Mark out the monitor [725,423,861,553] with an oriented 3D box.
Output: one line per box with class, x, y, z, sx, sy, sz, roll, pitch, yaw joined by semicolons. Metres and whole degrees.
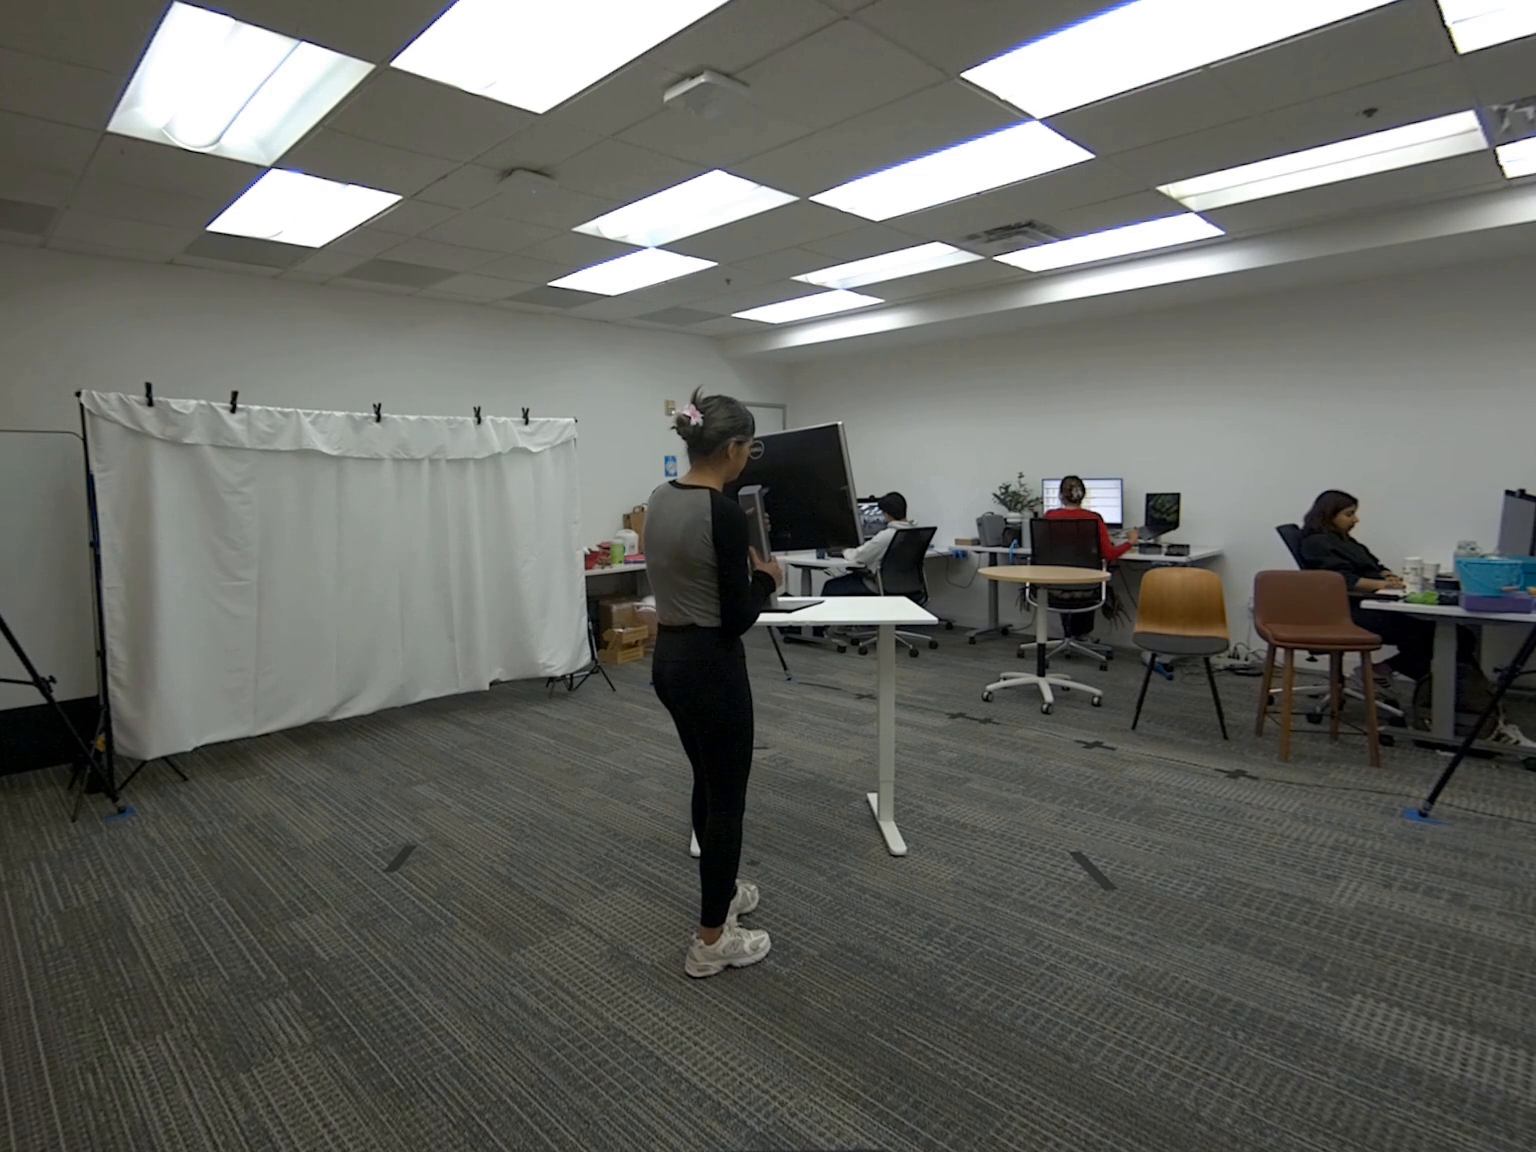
monitor;0.009;-0.161;2.579;0.553;0.521;0.183;-3;3;34
